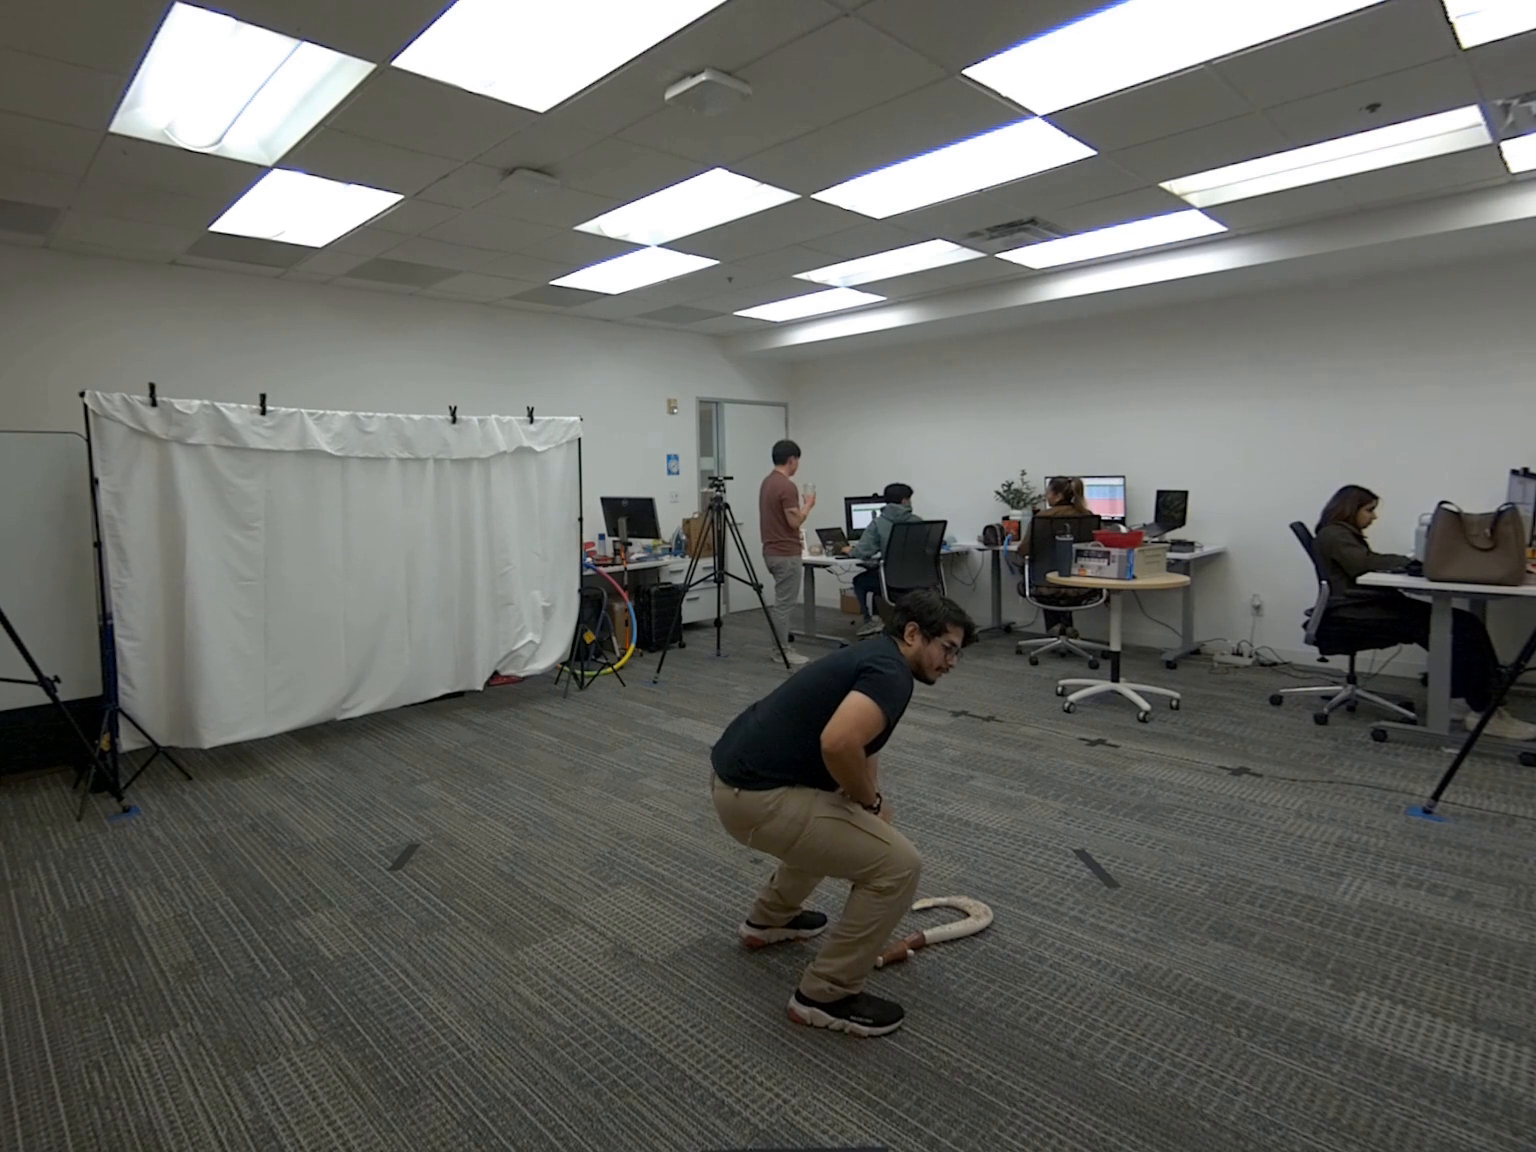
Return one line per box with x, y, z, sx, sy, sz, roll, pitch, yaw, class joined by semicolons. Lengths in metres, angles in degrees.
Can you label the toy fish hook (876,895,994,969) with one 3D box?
0.474;1.071;2.595;0.494;0.048;0.230;-5;1;-35;toy fish hook
